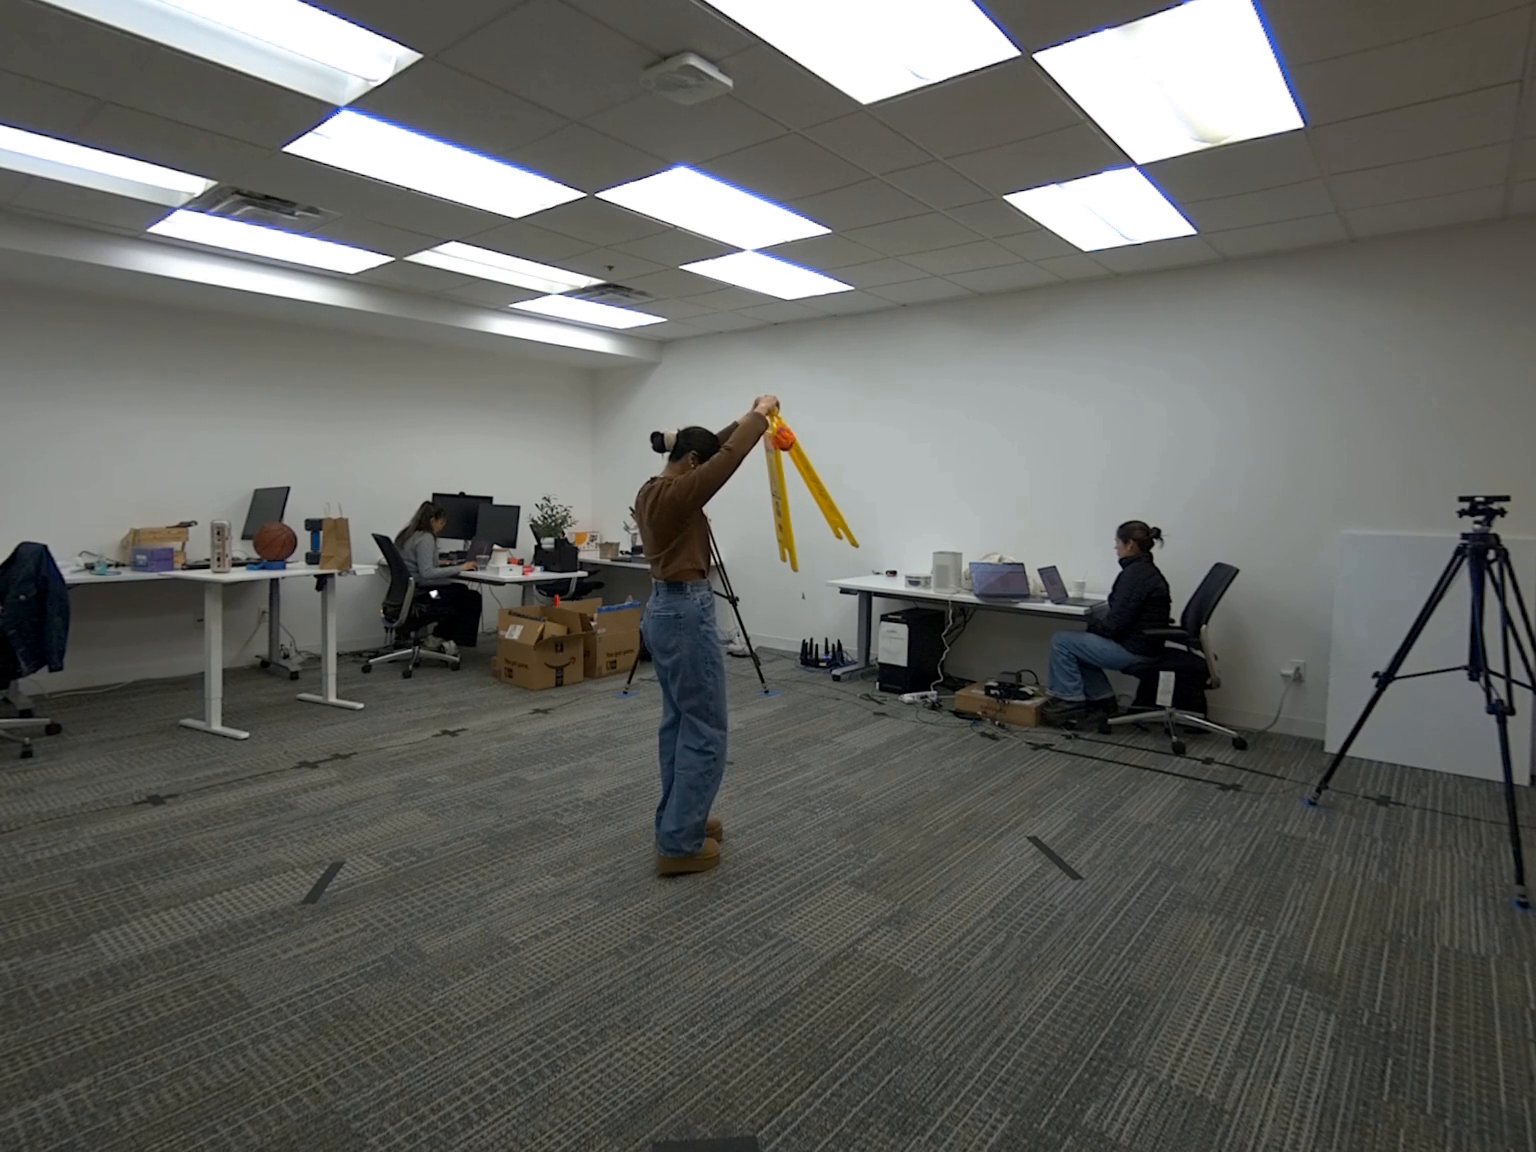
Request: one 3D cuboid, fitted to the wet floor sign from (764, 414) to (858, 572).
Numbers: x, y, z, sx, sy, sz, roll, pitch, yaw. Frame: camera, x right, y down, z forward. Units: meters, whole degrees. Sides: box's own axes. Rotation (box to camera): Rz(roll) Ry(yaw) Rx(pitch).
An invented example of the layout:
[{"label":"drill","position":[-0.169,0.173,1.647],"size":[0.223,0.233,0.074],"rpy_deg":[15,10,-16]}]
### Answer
[{"label":"wet floor sign","position":[0.089,-0.386,3.378],"size":[0.288,0.637,0.287],"rpy_deg":[-20,11,-7]}]
